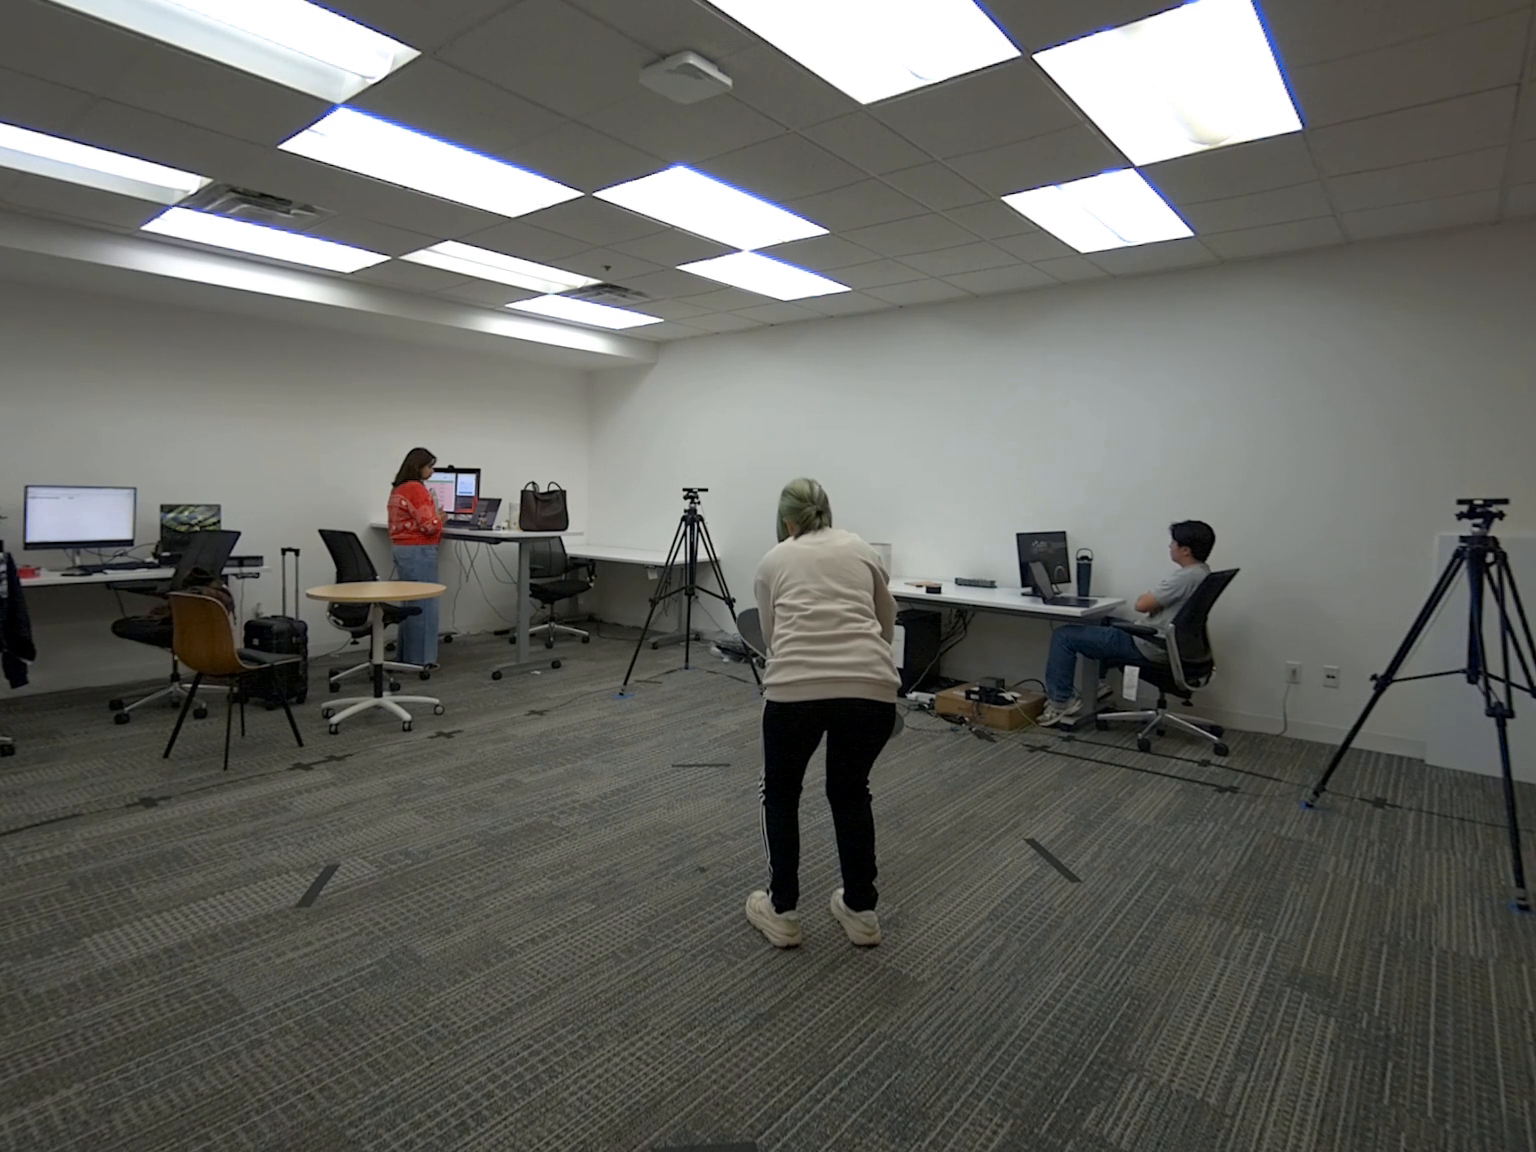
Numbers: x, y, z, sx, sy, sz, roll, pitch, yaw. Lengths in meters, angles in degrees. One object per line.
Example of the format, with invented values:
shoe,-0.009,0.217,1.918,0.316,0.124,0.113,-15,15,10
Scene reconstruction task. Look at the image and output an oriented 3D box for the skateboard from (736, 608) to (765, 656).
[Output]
skateboard,0.161,0.370,3.097,0.190,0.107,0.819,-23,44,-32
